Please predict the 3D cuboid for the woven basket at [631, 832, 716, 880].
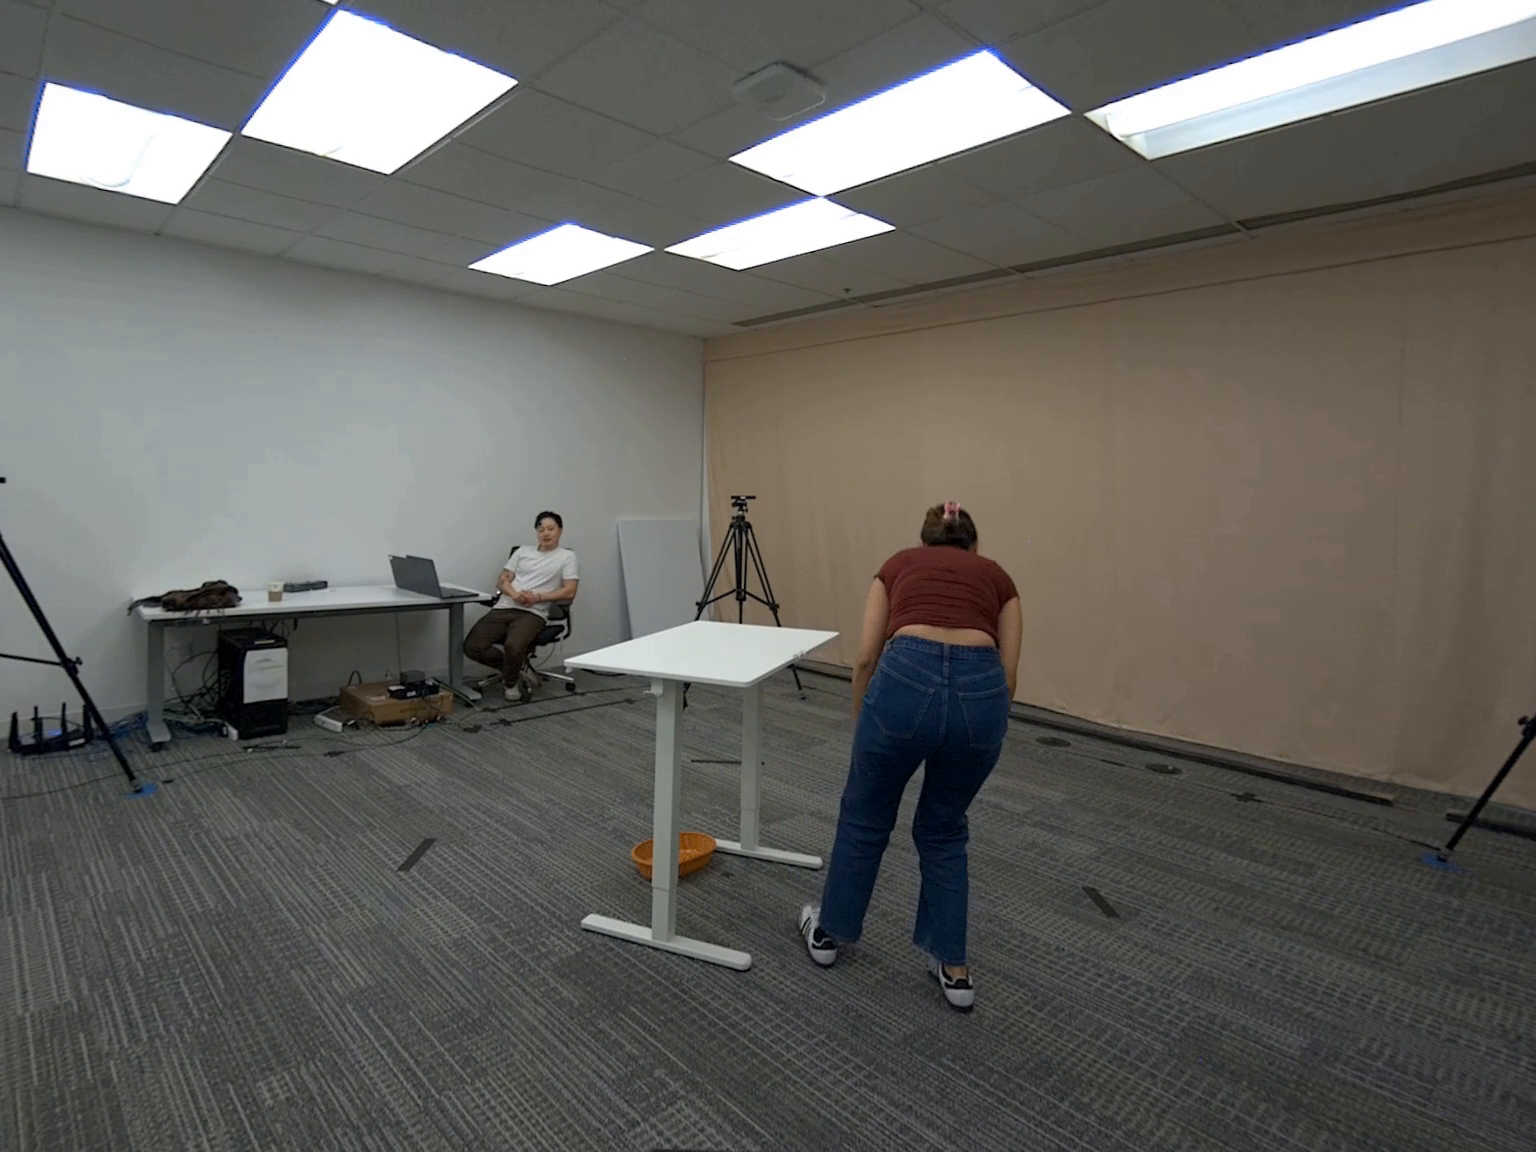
[{"bbox_3d":[-0.357,1.051,3.157,0.259,0.073,0.342,5,6,45],"label":"woven basket"}]
